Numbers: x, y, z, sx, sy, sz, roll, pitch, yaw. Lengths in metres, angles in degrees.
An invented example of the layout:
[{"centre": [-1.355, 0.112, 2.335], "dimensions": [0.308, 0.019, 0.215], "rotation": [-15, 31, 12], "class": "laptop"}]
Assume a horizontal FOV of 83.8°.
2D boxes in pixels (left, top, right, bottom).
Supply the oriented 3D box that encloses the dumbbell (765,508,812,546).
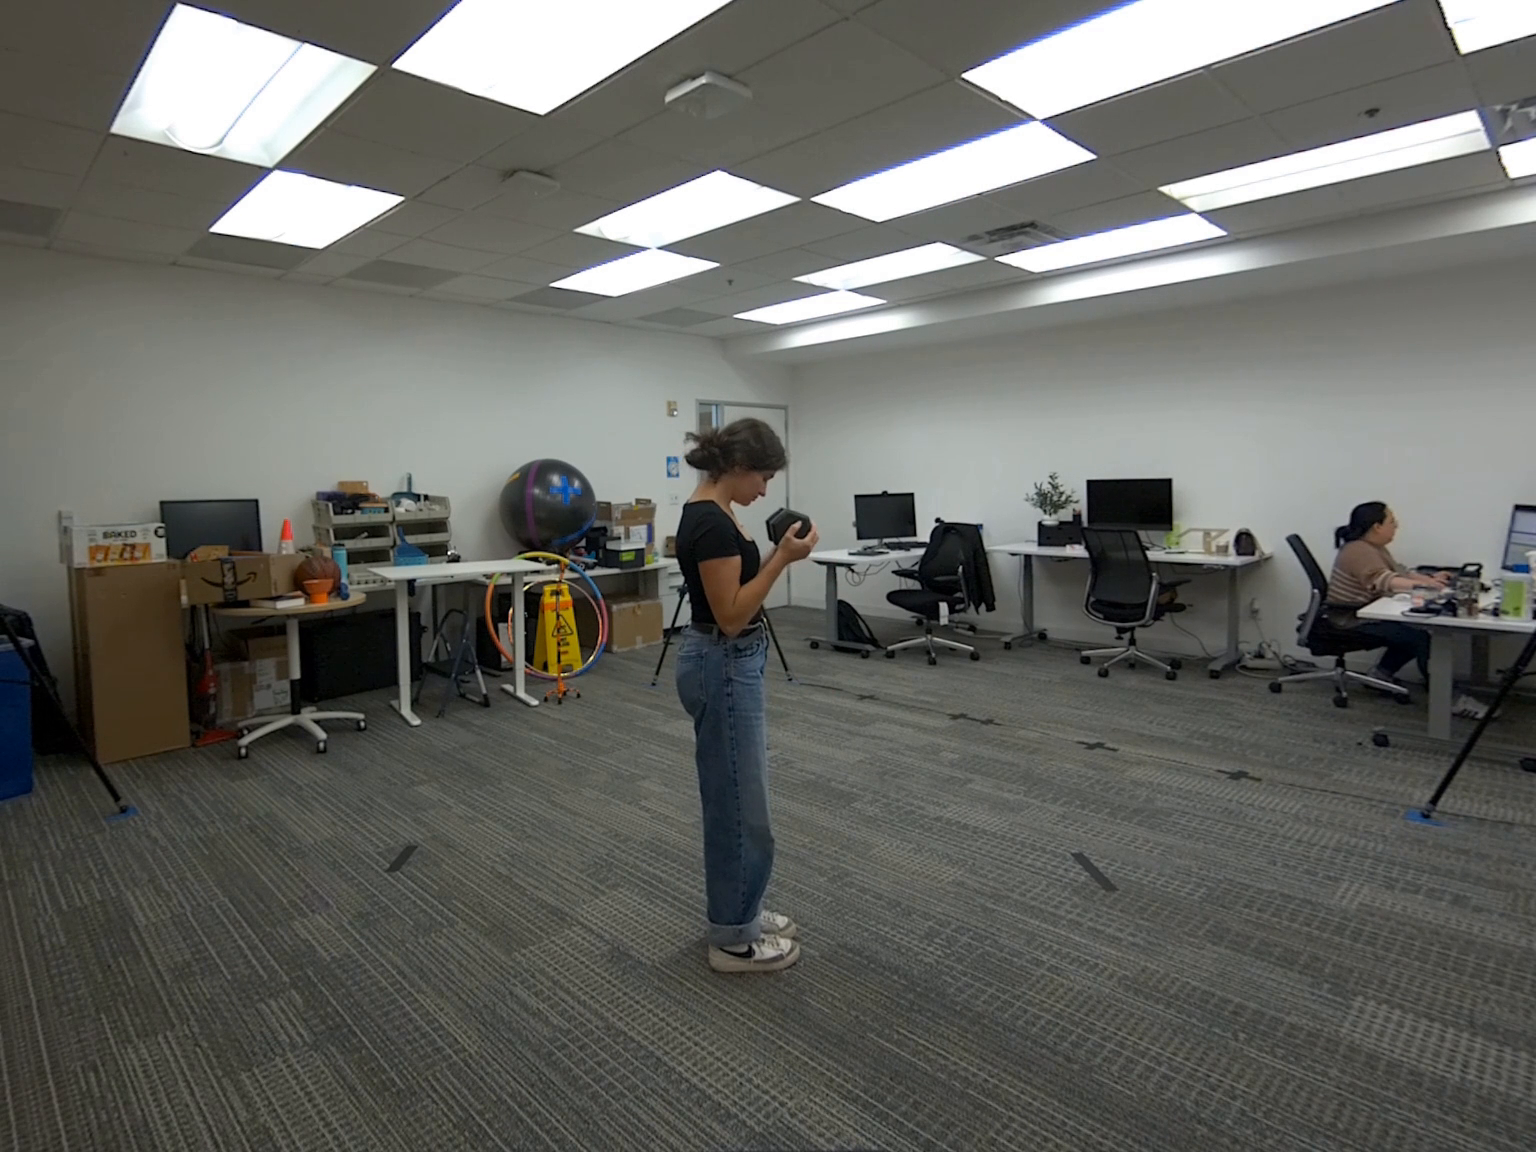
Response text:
[{"centre": [0.066, -0.124, 2.470], "dimensions": [0.108, 0.122, 0.296], "rotation": [-11, 9, -2], "class": "dumbbell"}]
